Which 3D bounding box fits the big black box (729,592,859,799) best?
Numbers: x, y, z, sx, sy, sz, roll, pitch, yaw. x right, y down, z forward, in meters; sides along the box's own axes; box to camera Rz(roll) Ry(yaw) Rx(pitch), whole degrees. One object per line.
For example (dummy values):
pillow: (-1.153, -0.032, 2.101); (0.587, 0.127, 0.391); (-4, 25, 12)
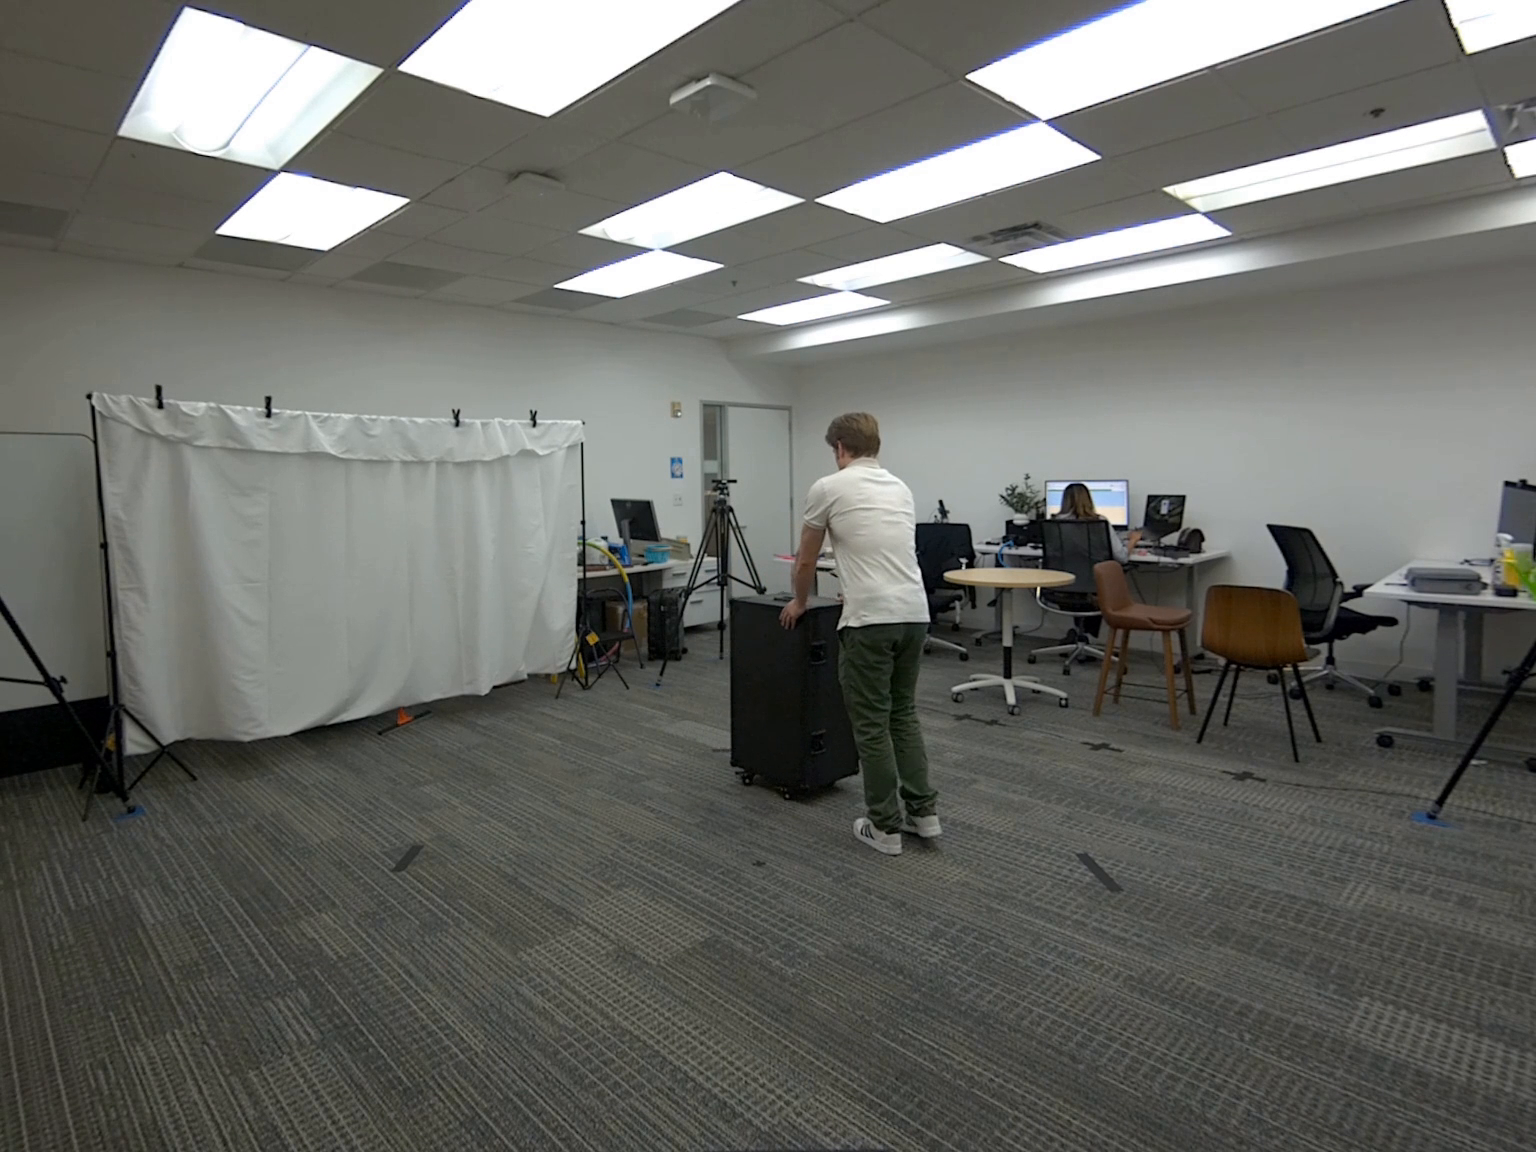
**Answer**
big black box: (0.111, 0.535, 3.902); (0.375, 0.866, 0.539); (-3, 5, -42)
